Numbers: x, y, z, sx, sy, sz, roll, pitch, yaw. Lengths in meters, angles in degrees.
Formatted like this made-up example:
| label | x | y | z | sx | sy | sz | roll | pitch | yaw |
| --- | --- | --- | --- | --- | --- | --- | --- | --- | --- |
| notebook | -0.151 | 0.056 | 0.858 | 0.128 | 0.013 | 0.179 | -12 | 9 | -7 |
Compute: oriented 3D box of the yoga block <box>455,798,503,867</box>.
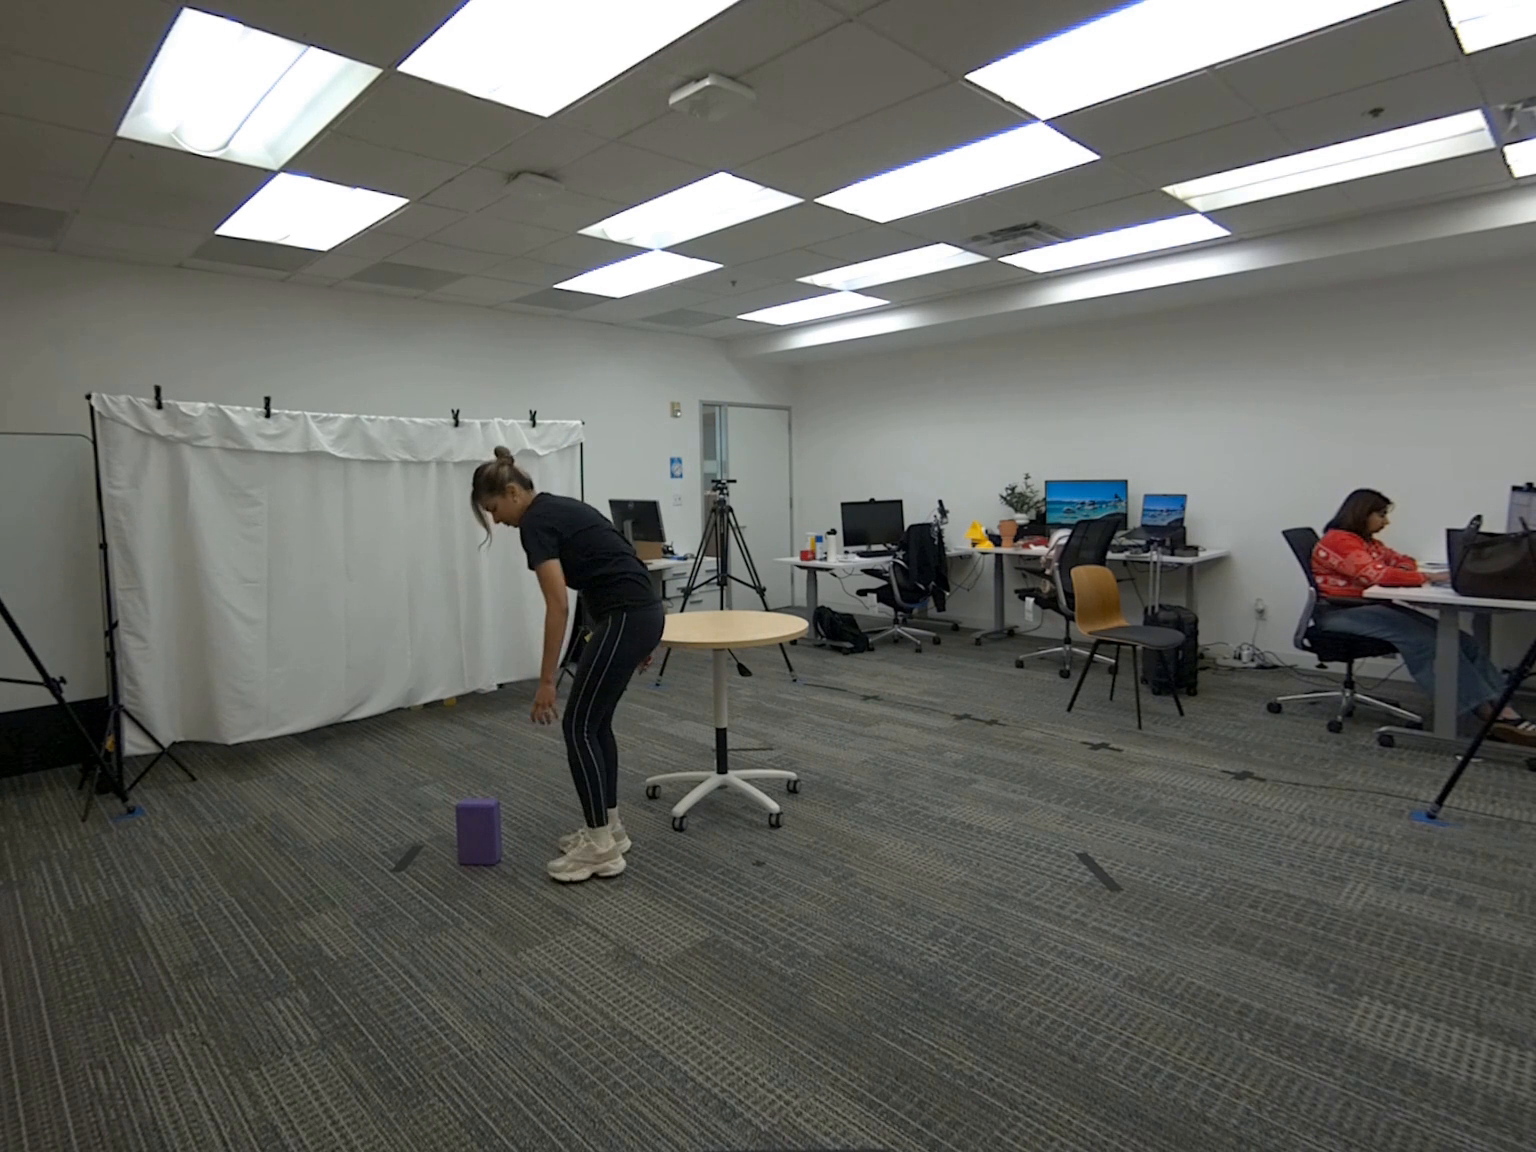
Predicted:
| label | x | y | z | sx | sy | sz | roll | pitch | yaw |
| --- | --- | --- | --- | --- | --- | --- | --- | --- | --- |
| yoga block | -1.070 | 0.947 | 3.168 | 0.150 | 0.228 | 0.076 | -2 | 4 | 6 |
